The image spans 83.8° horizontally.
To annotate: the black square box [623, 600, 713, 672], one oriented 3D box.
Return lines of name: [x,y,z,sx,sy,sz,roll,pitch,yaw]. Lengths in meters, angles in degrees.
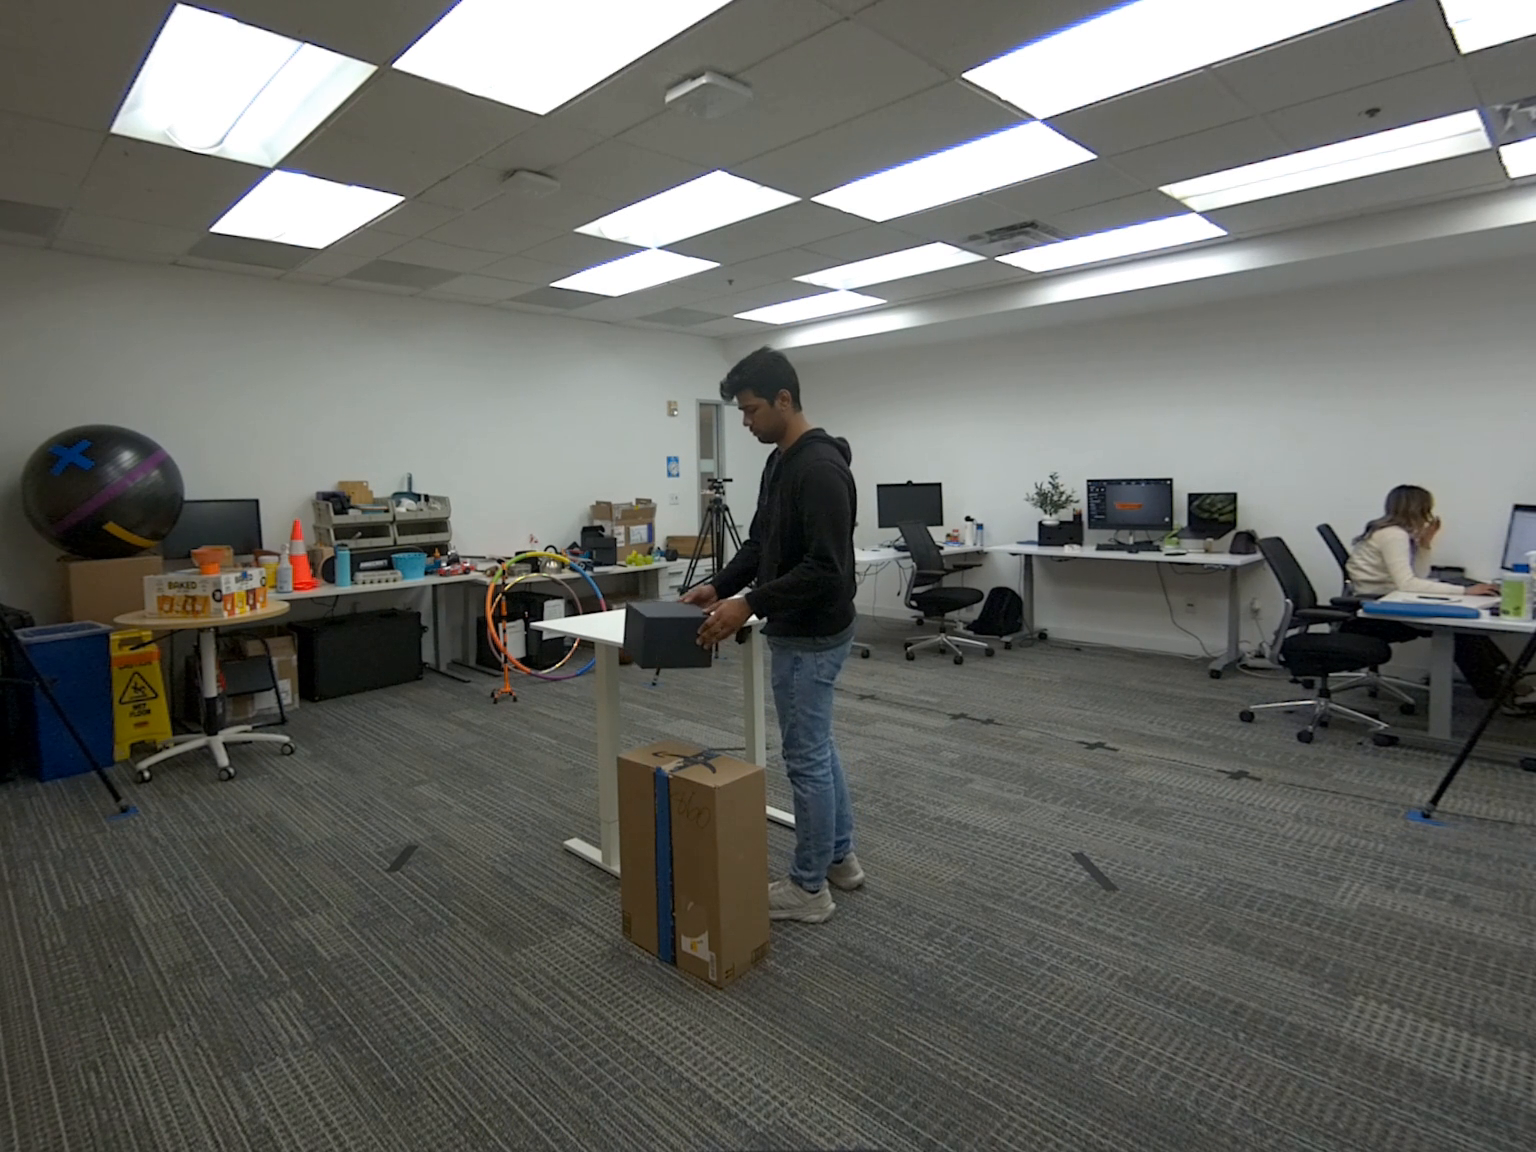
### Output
black square box: [-0.301,0.179,2.580,0.213,0.155,0.233,2,7,-17]
